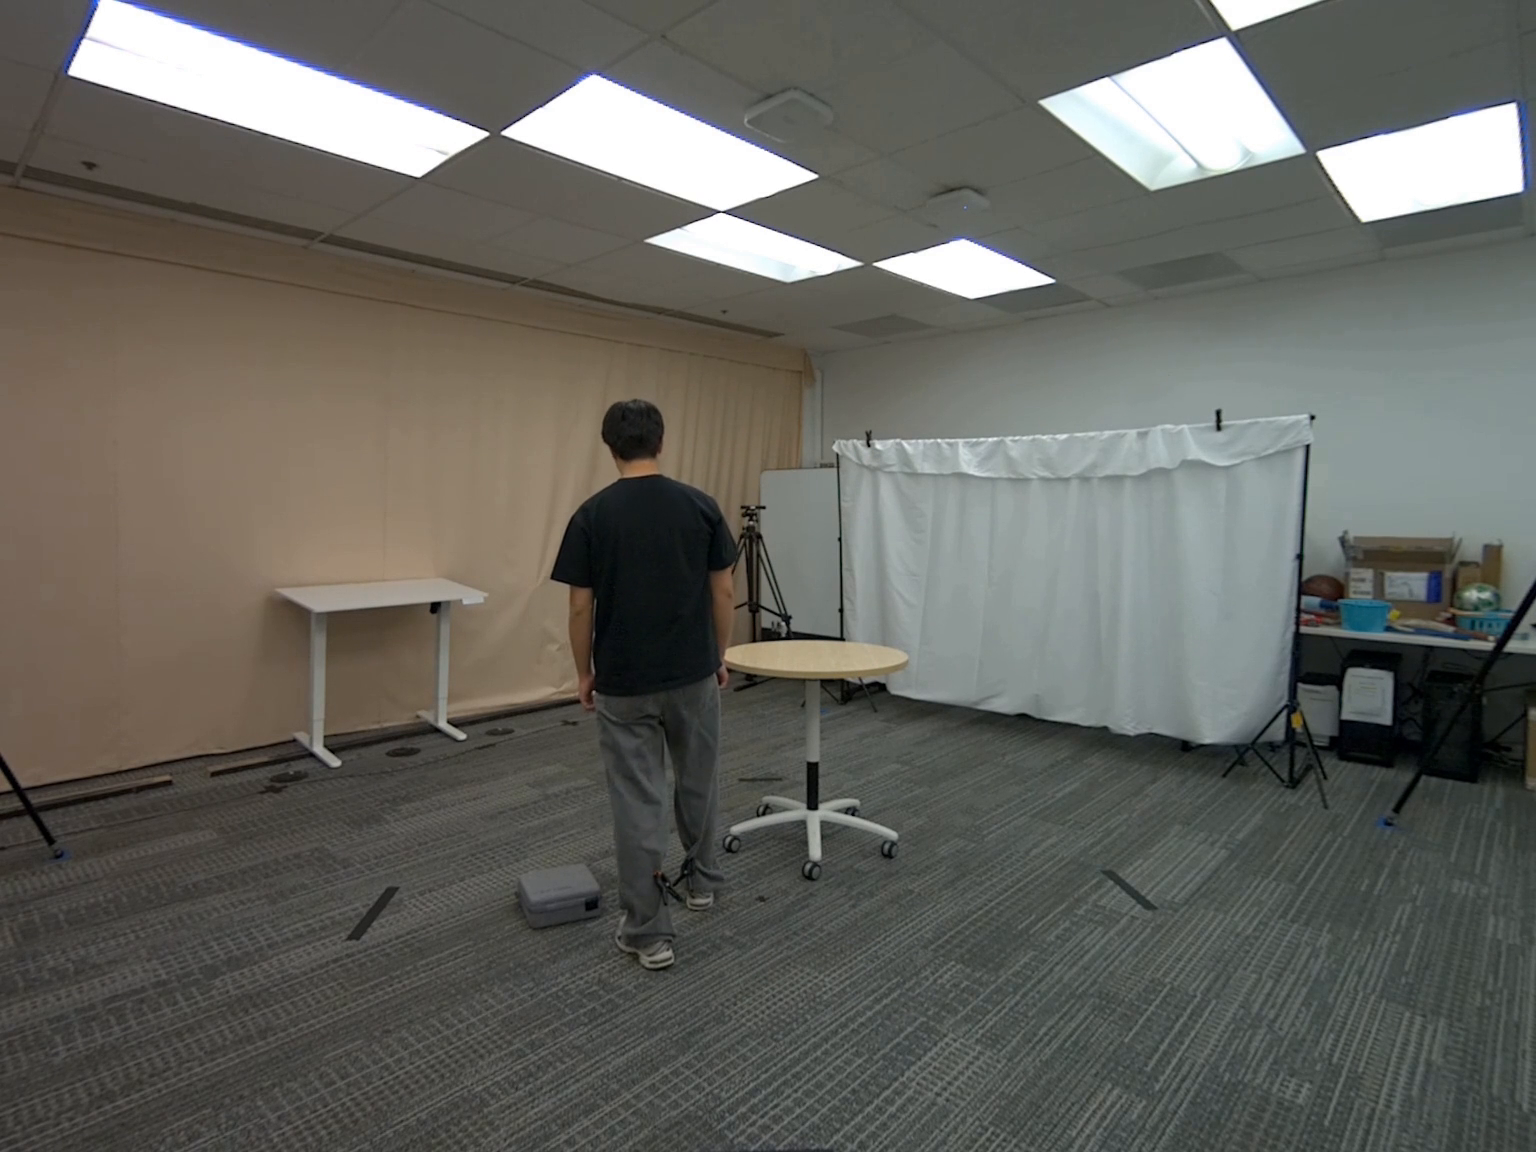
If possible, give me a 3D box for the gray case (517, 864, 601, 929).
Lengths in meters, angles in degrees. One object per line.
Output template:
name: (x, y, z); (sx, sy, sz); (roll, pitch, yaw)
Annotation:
gray case: (-0.728, 1.105, 2.928); (0.257, 0.103, 0.294); (-2, 4, -24)
